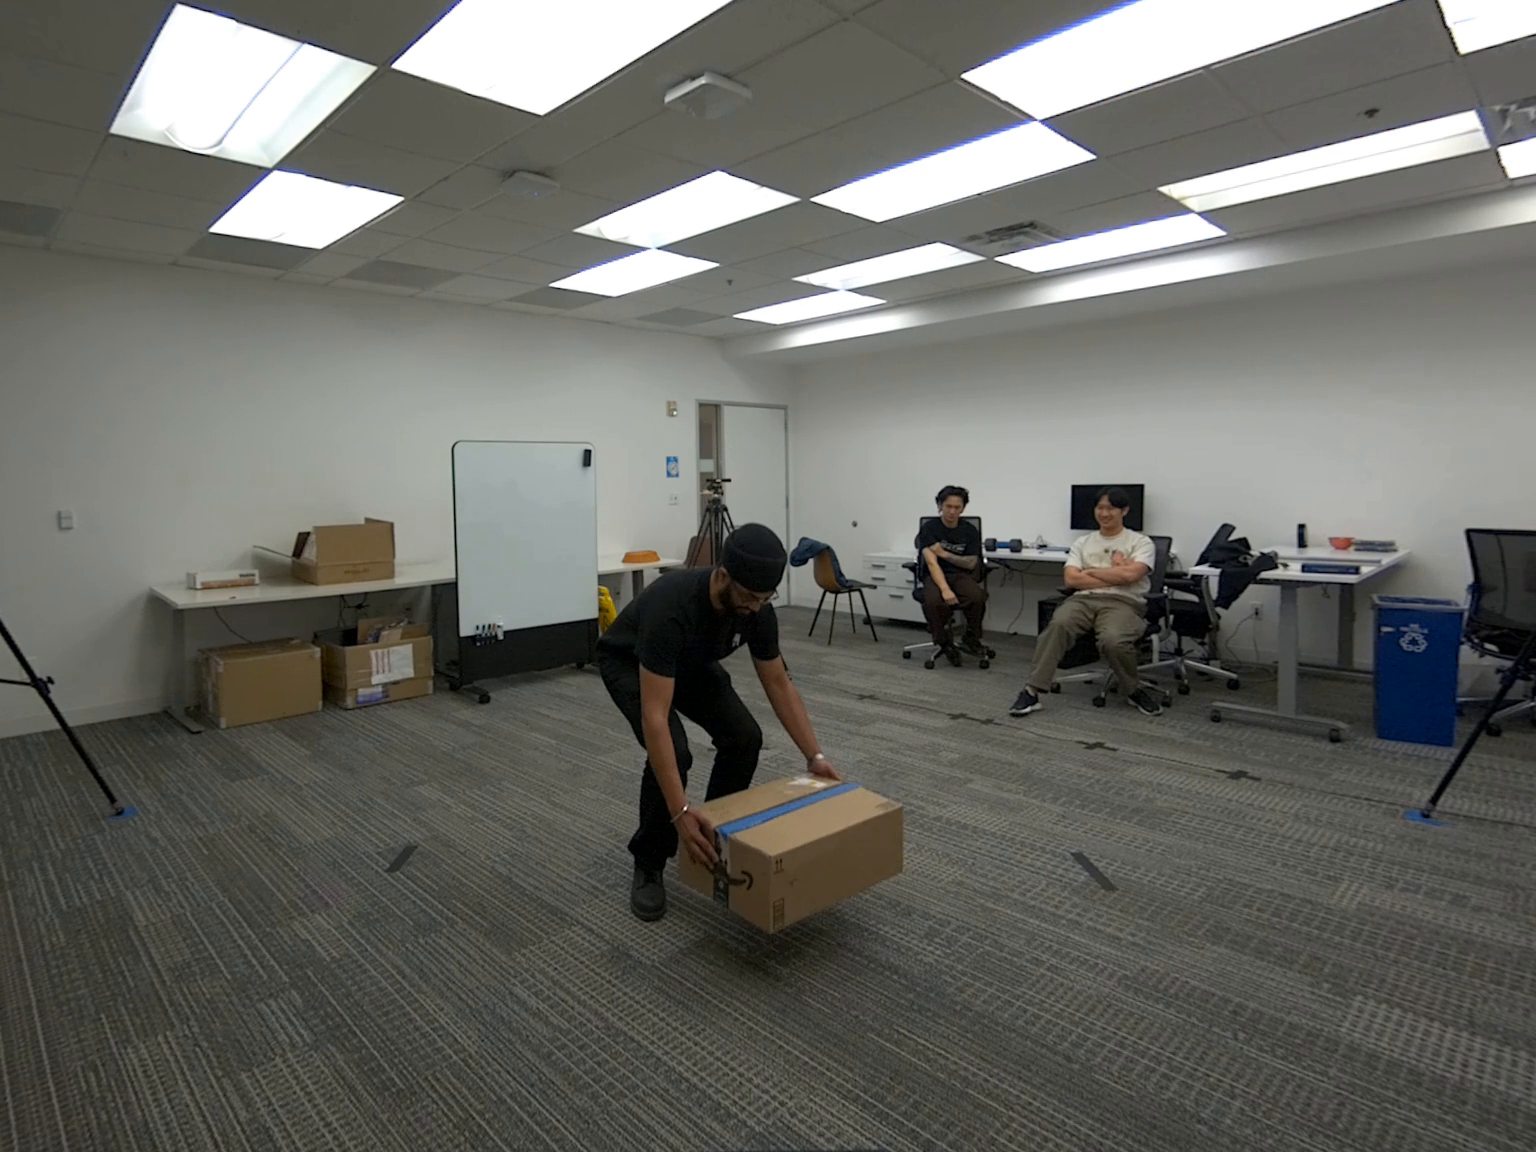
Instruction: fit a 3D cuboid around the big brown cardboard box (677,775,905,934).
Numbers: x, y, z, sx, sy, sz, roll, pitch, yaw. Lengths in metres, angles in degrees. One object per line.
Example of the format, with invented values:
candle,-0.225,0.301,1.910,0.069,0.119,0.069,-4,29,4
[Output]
big brown cardboard box,0.074,0.805,2.606,0.574,0.232,0.430,-7,8,-42
